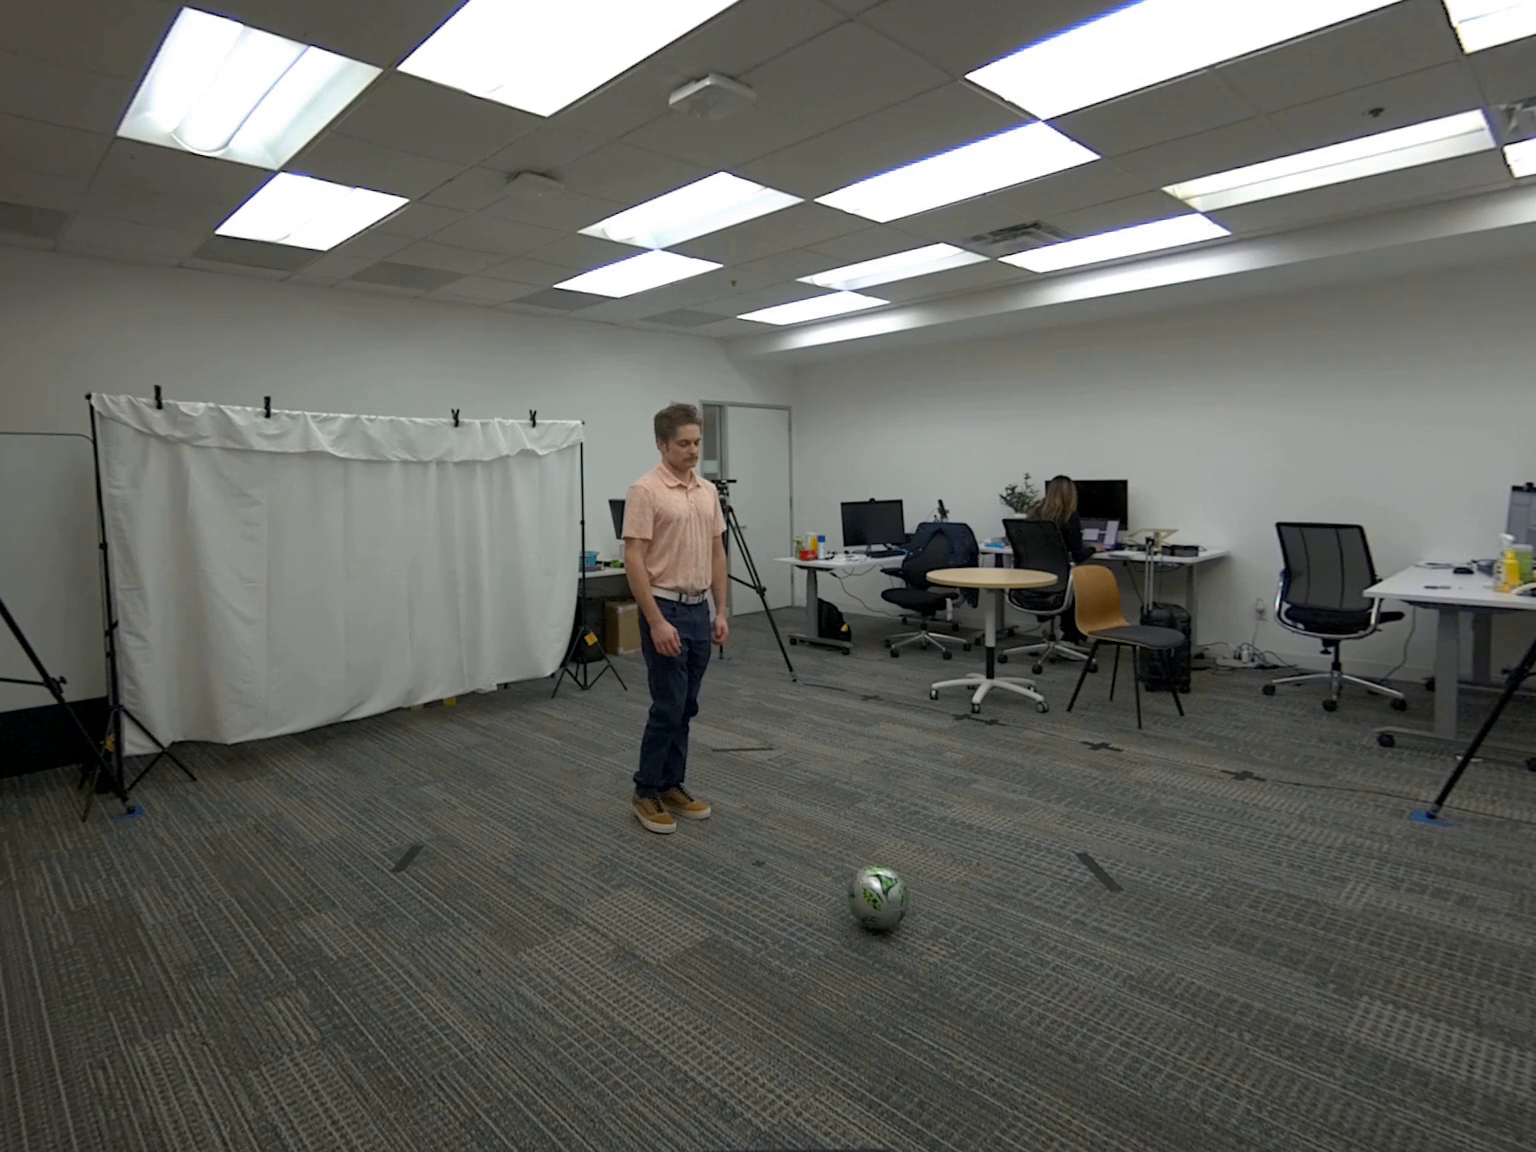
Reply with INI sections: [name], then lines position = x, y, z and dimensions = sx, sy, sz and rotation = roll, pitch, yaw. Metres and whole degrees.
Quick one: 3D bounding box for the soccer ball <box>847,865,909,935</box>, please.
[soccer ball]
position = 0.345, 0.996, 2.653
dimensions = 0.187, 0.187, 0.188
rotation = -1, 5, -2
